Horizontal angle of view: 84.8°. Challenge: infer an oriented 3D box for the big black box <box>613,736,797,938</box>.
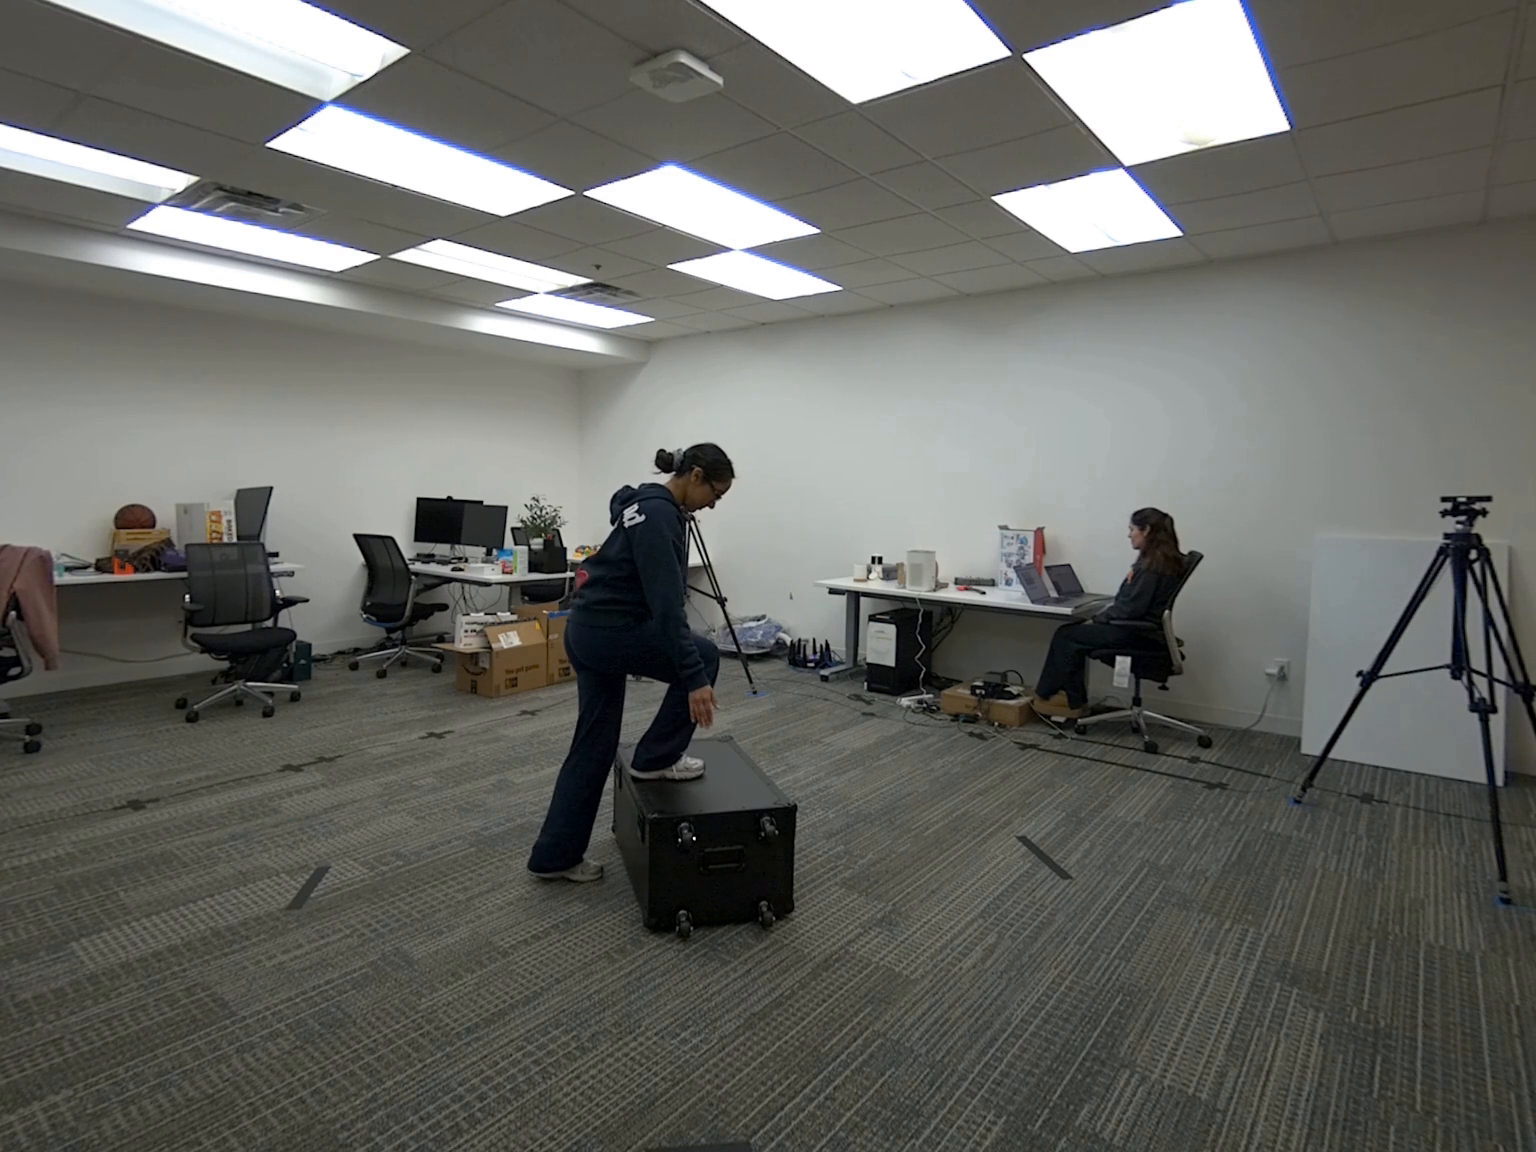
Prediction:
[{"bbox_3d":[-0.262,0.884,3.017,0.512,0.395,0.880,-1,5,-18],"label":"big black box"}]
